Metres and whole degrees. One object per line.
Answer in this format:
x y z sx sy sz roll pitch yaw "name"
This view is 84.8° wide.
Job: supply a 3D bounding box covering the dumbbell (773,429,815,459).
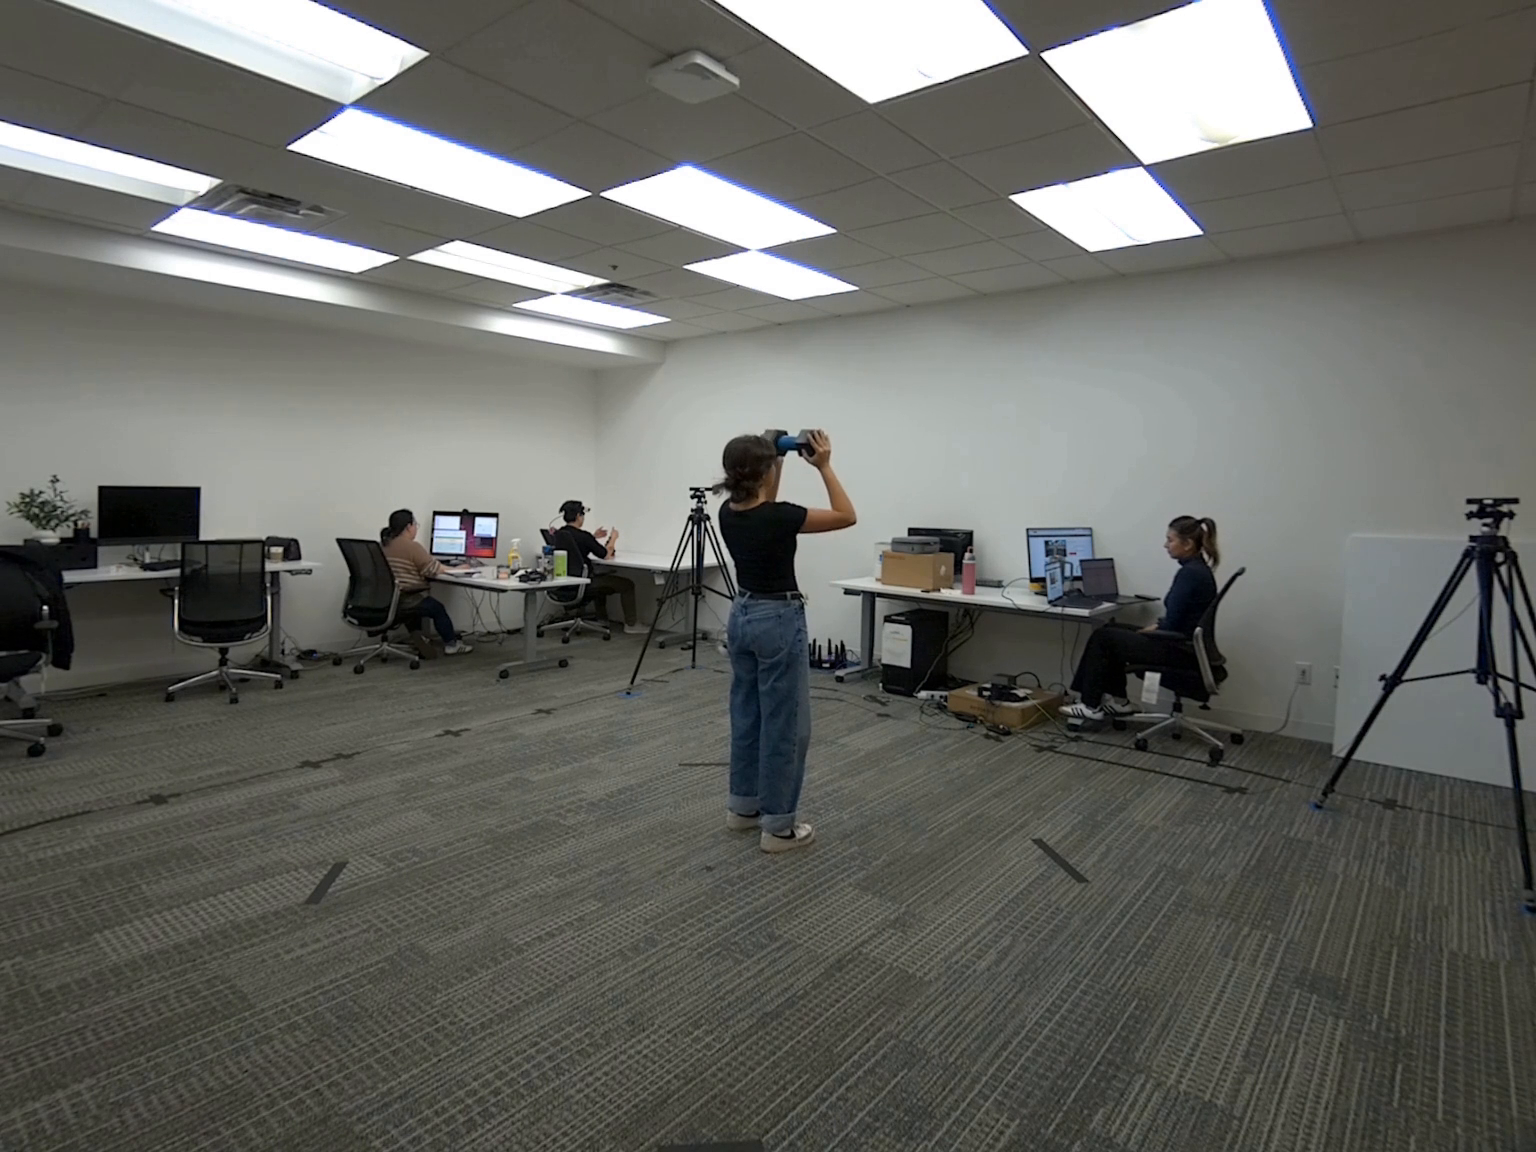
0.087 -0.534 3.391 0.104 0.123 0.304 39 -17 -36 "dumbbell"
